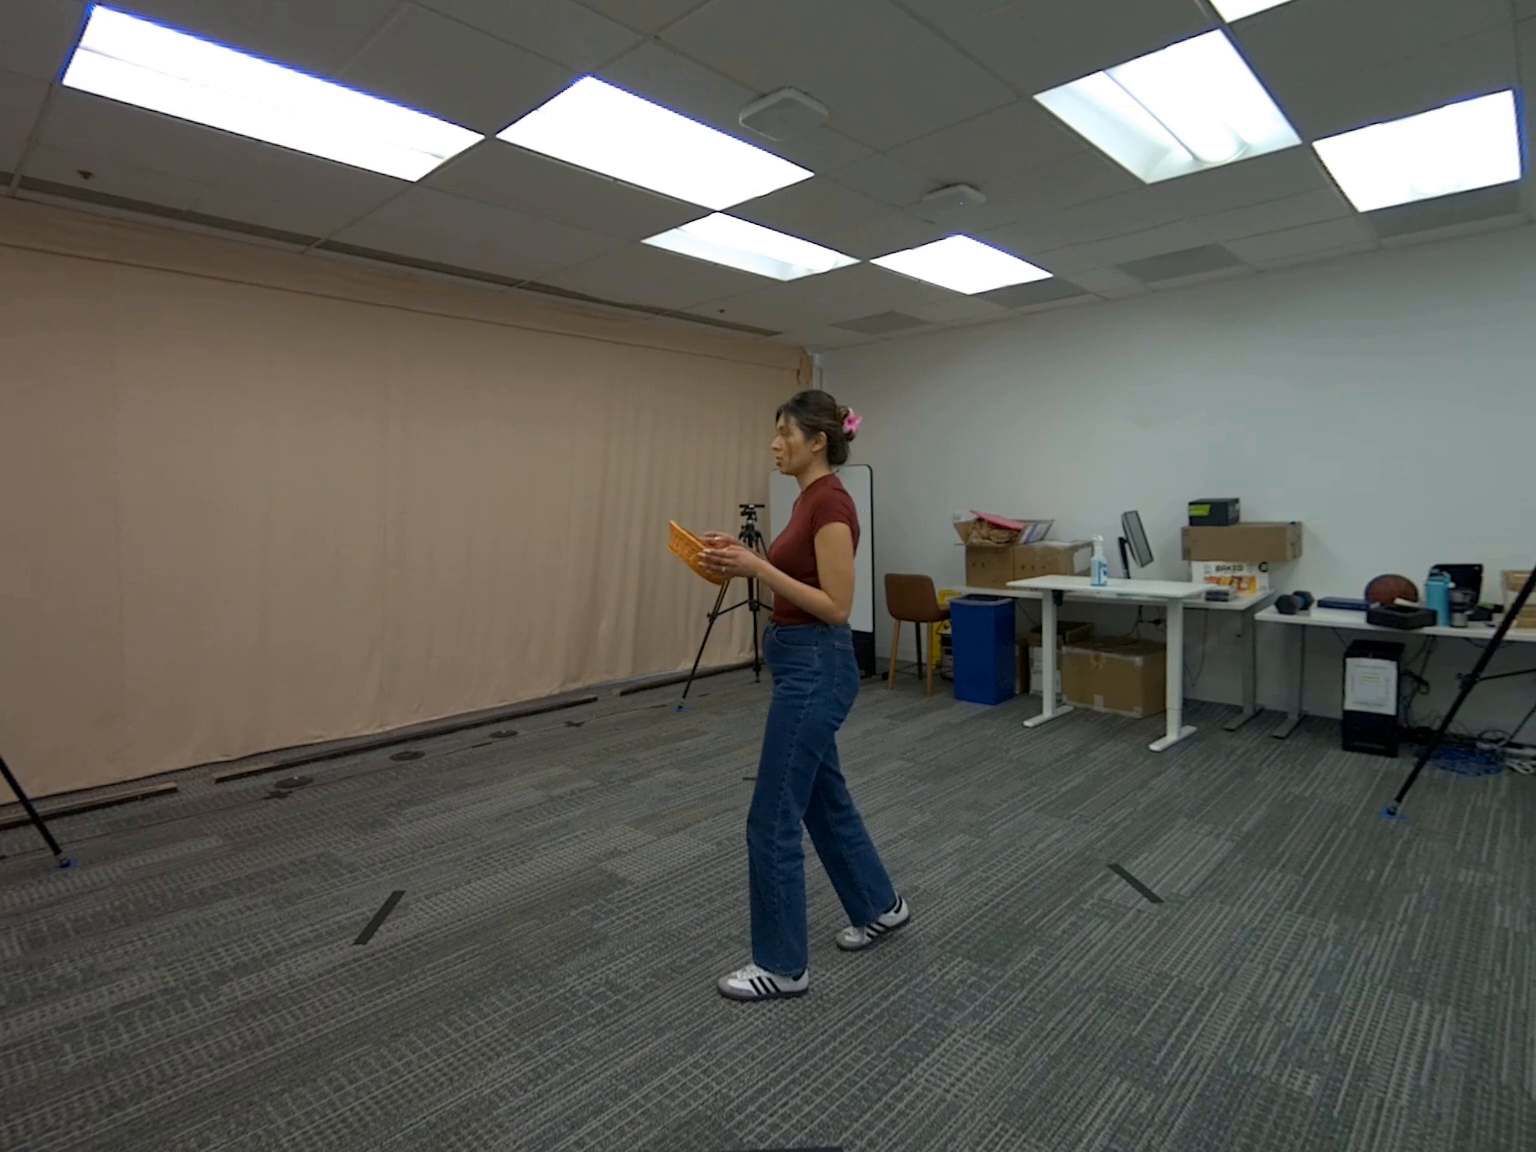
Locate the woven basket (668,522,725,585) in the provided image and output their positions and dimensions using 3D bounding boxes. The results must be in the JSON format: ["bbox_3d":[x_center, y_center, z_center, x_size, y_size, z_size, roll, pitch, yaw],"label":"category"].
[{"bbox_3d":[-0.195,-0.054,2.438,0.255,0.073,0.346,36,1,8],"label":"woven basket"}]
